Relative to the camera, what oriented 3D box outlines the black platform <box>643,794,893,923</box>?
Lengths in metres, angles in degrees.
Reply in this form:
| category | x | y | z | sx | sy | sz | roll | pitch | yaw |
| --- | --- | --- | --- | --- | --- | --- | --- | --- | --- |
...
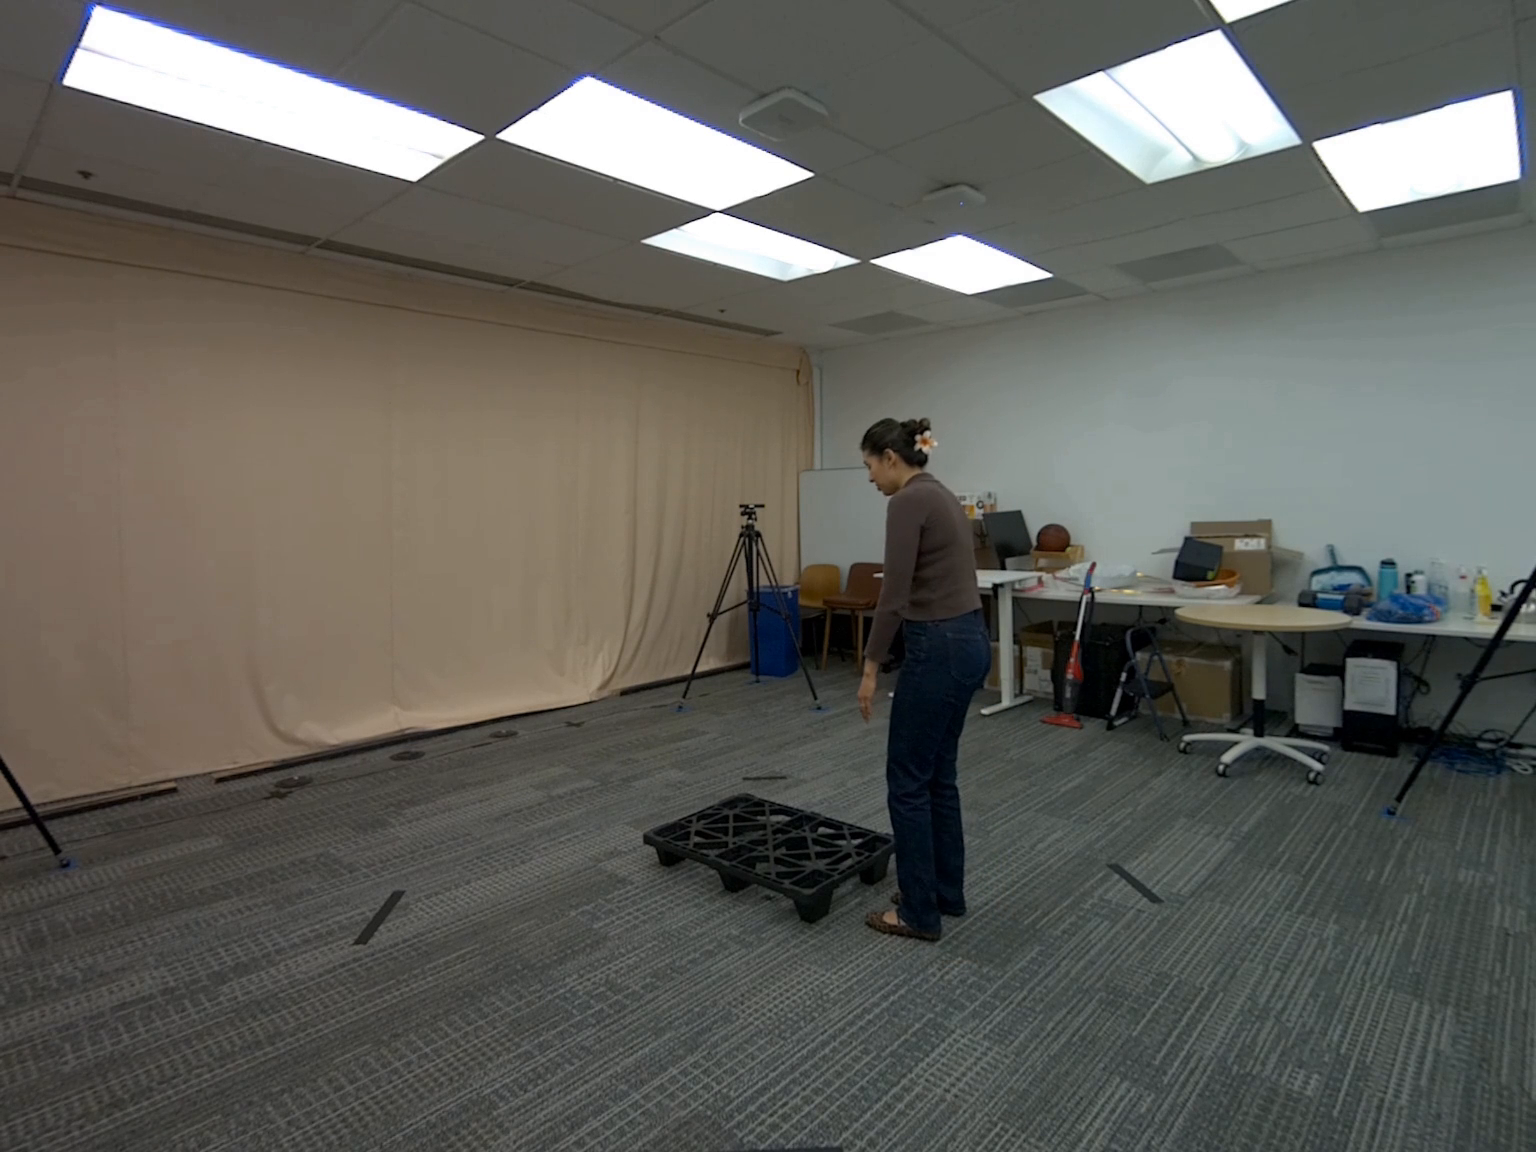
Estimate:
| category | x | y | z | sx | sy | sz | roll | pitch | yaw |
| --- | --- | --- | --- | --- | --- | --- | --- | --- | --- |
| black platform | 0.011 | 1.054 | 3.196 | 0.832 | 0.143 | 0.587 | 3 | 7 | 41 |
